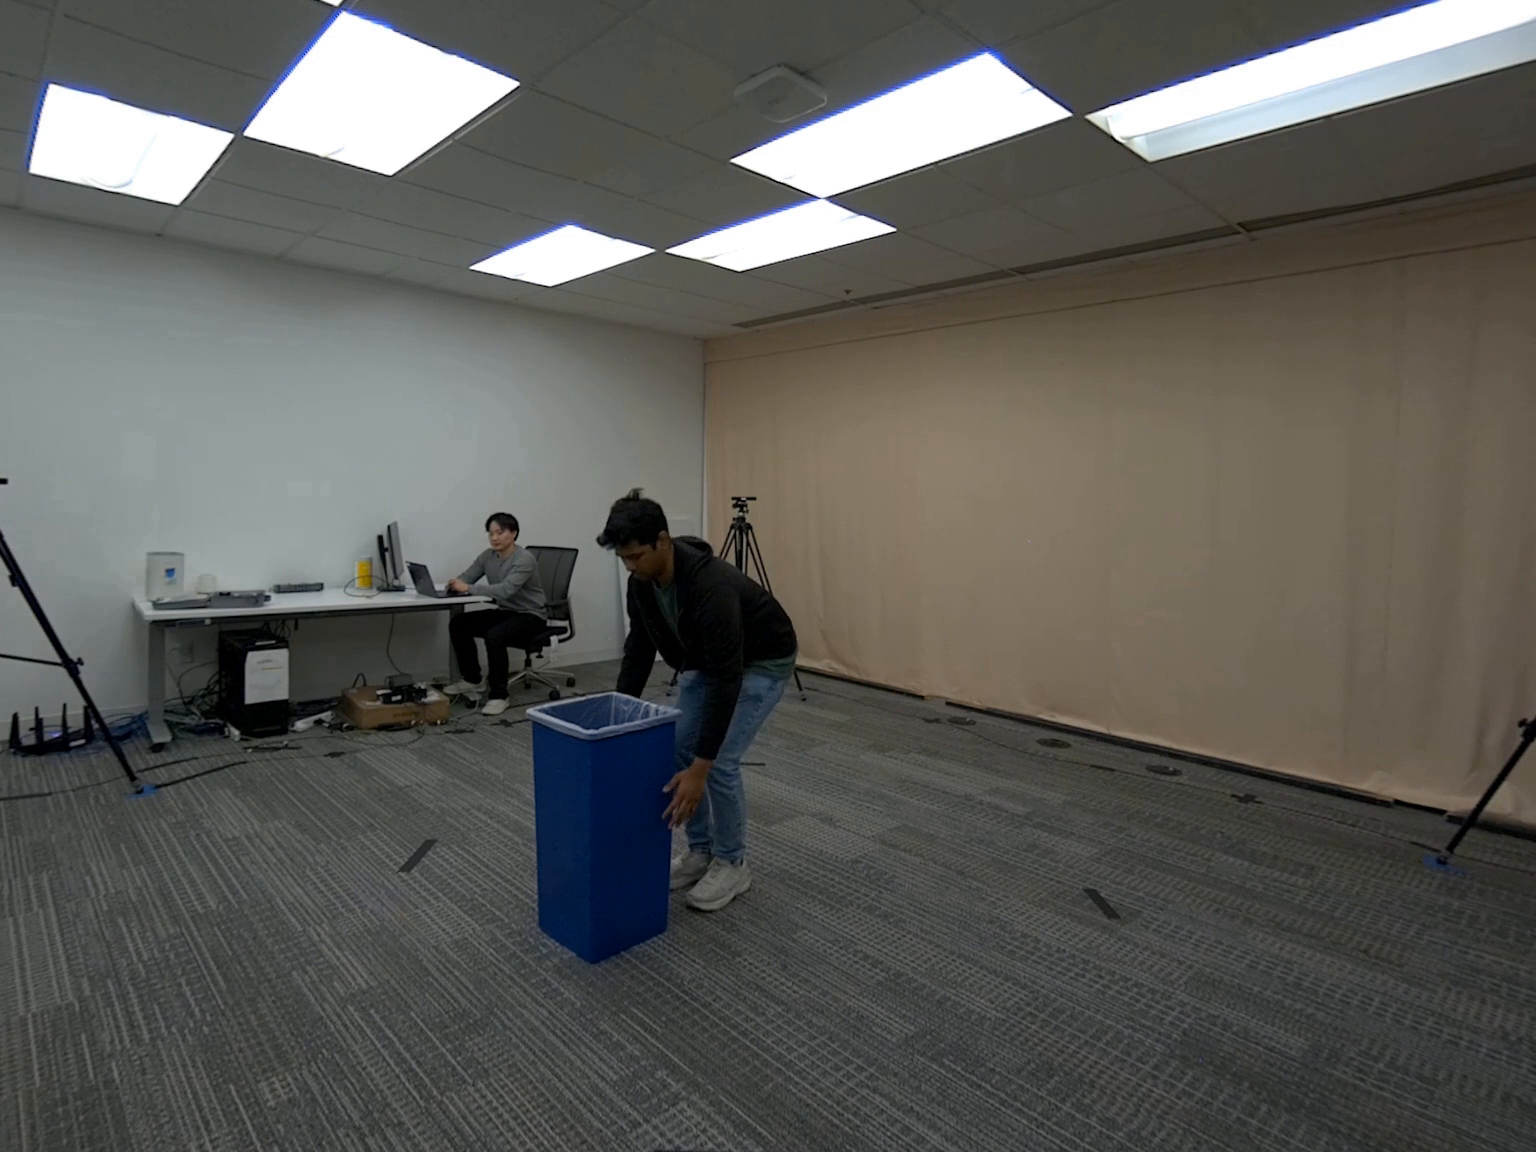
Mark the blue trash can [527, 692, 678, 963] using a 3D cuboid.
[{"bbox_3d":[-0.534,0.782,2.672,0.387,0.712,0.365,4,4,43],"label":"blue trash can"}]
